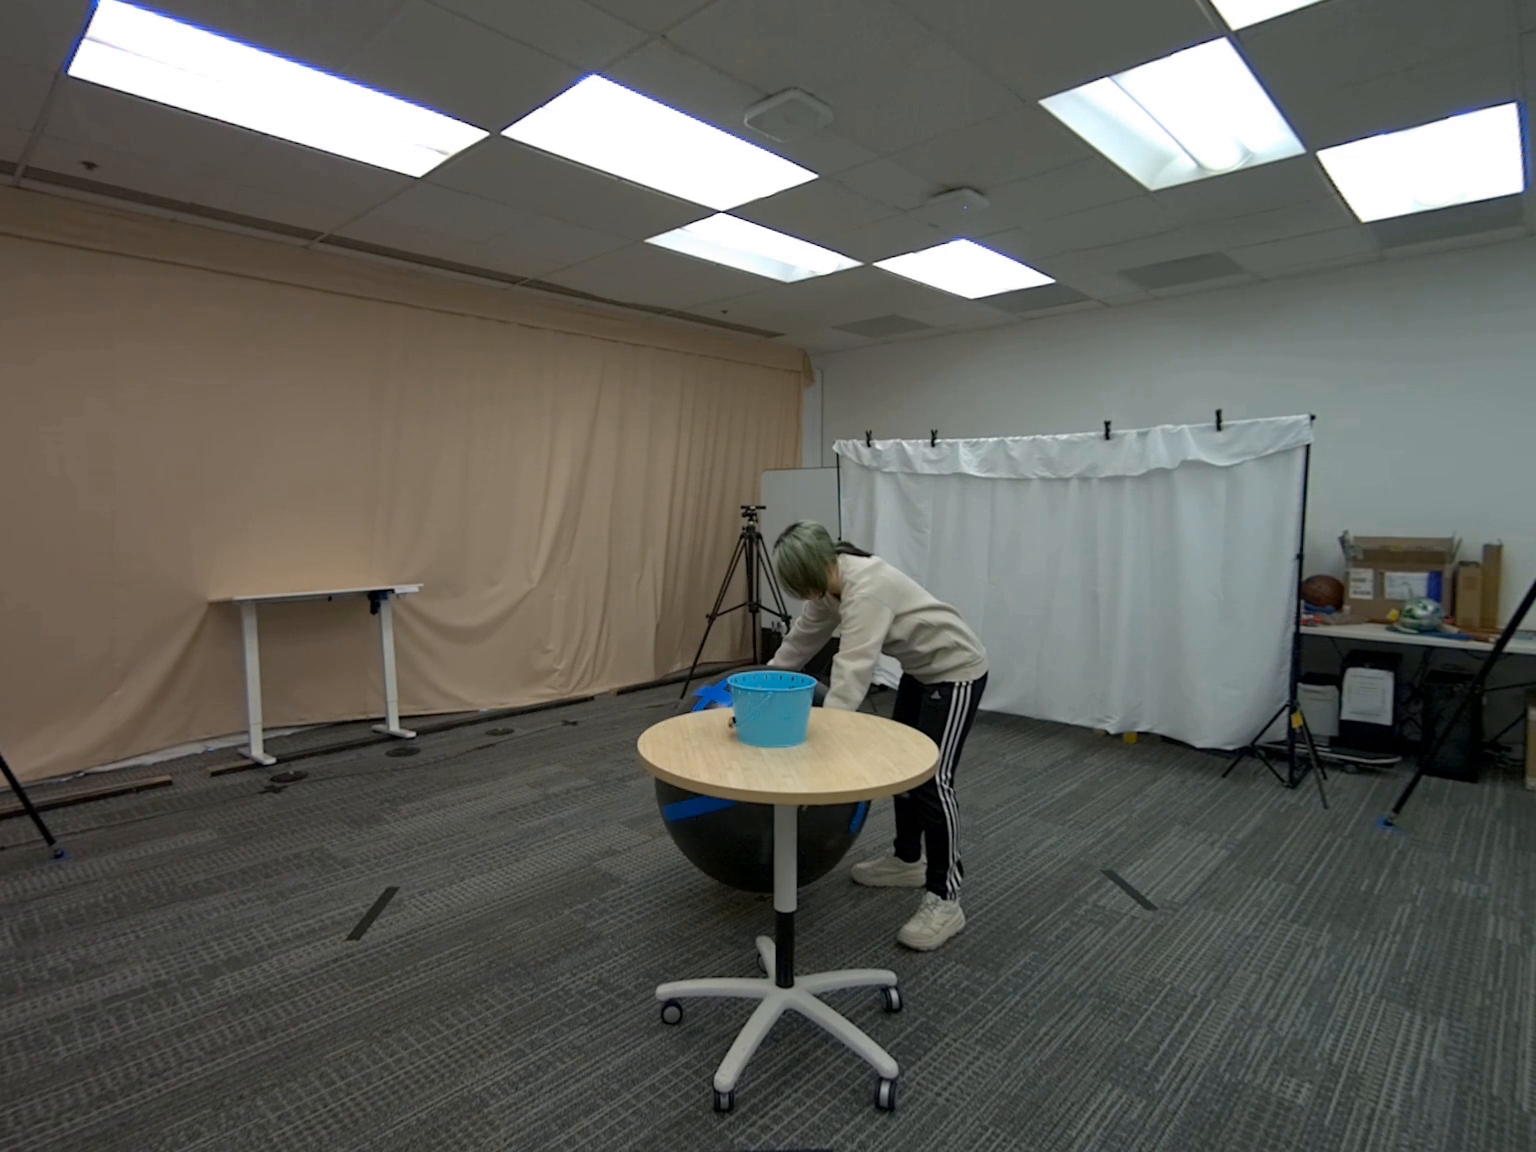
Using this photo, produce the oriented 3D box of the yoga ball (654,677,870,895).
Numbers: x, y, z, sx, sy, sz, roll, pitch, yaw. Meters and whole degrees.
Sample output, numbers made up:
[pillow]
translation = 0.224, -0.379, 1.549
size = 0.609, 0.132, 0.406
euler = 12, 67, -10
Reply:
[yoga ball]
translation = -0.019, 0.702, 2.937
size = 0.757, 0.756, 0.761
euler = 0, 4, -2
